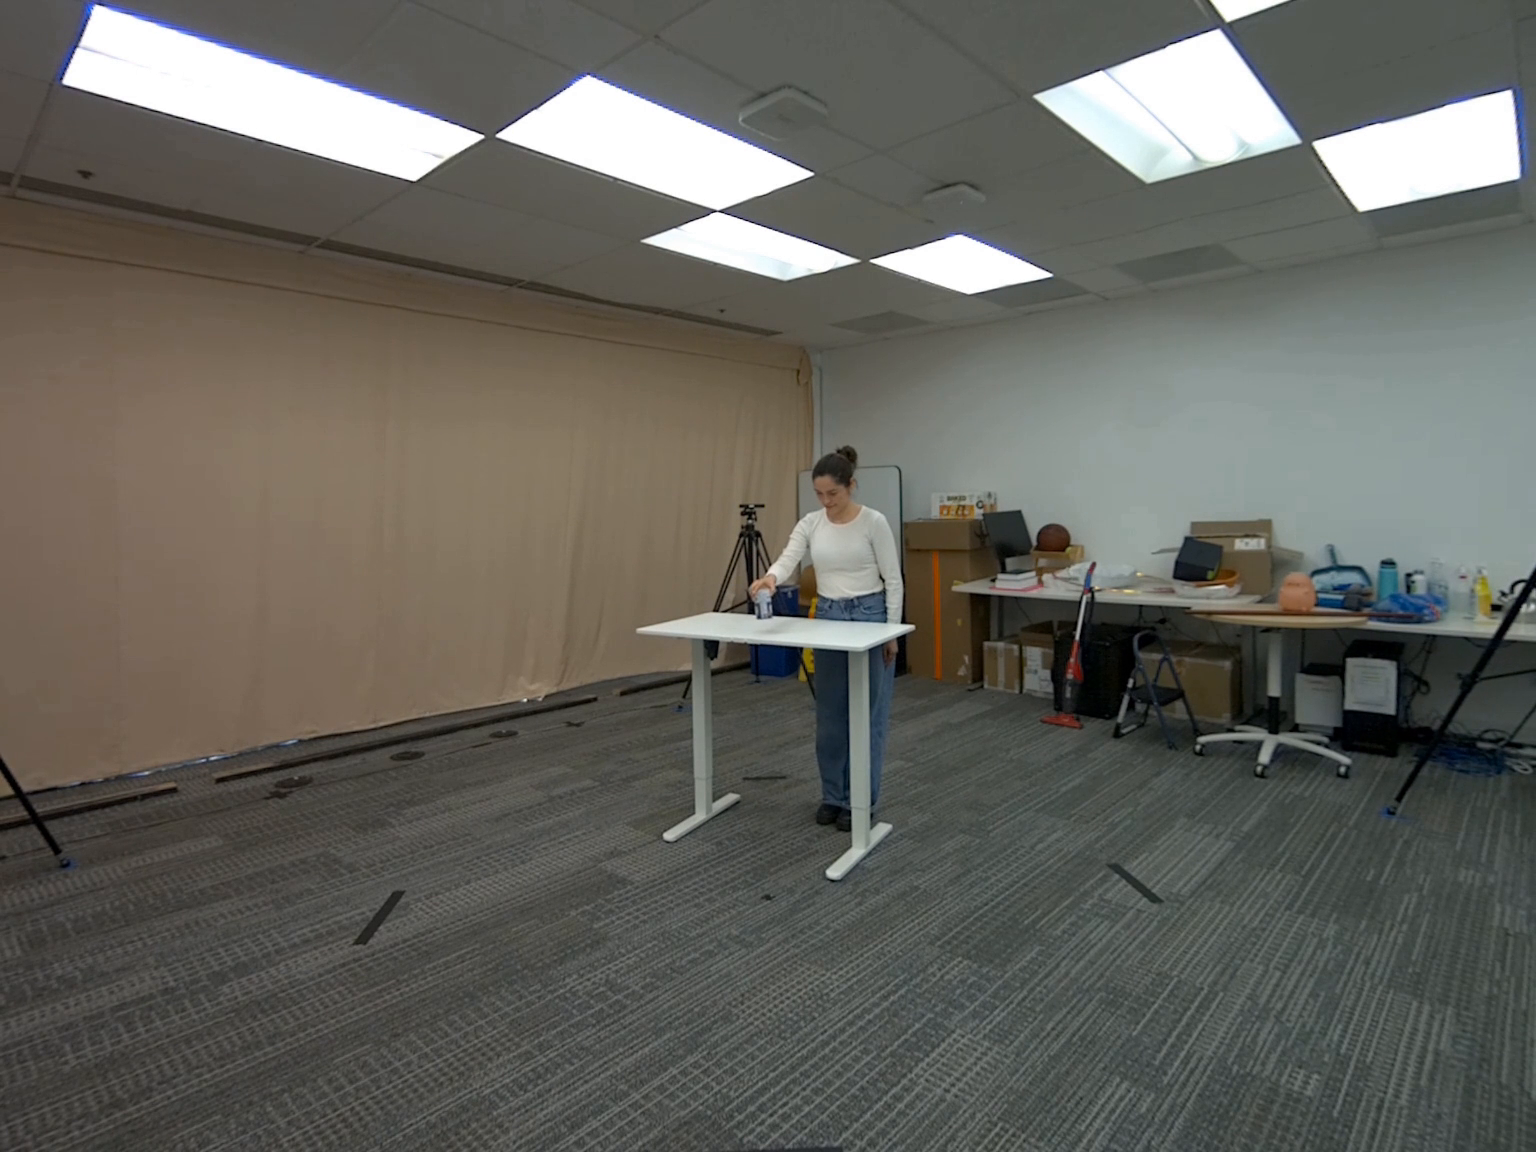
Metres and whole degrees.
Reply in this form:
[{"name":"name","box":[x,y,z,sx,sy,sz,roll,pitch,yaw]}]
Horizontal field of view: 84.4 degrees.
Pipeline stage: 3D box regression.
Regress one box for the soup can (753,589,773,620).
[{"name":"soup can","box":[-0.025,0.110,3.343,0.067,0.122,0.067,-3,-4,-2]}]
